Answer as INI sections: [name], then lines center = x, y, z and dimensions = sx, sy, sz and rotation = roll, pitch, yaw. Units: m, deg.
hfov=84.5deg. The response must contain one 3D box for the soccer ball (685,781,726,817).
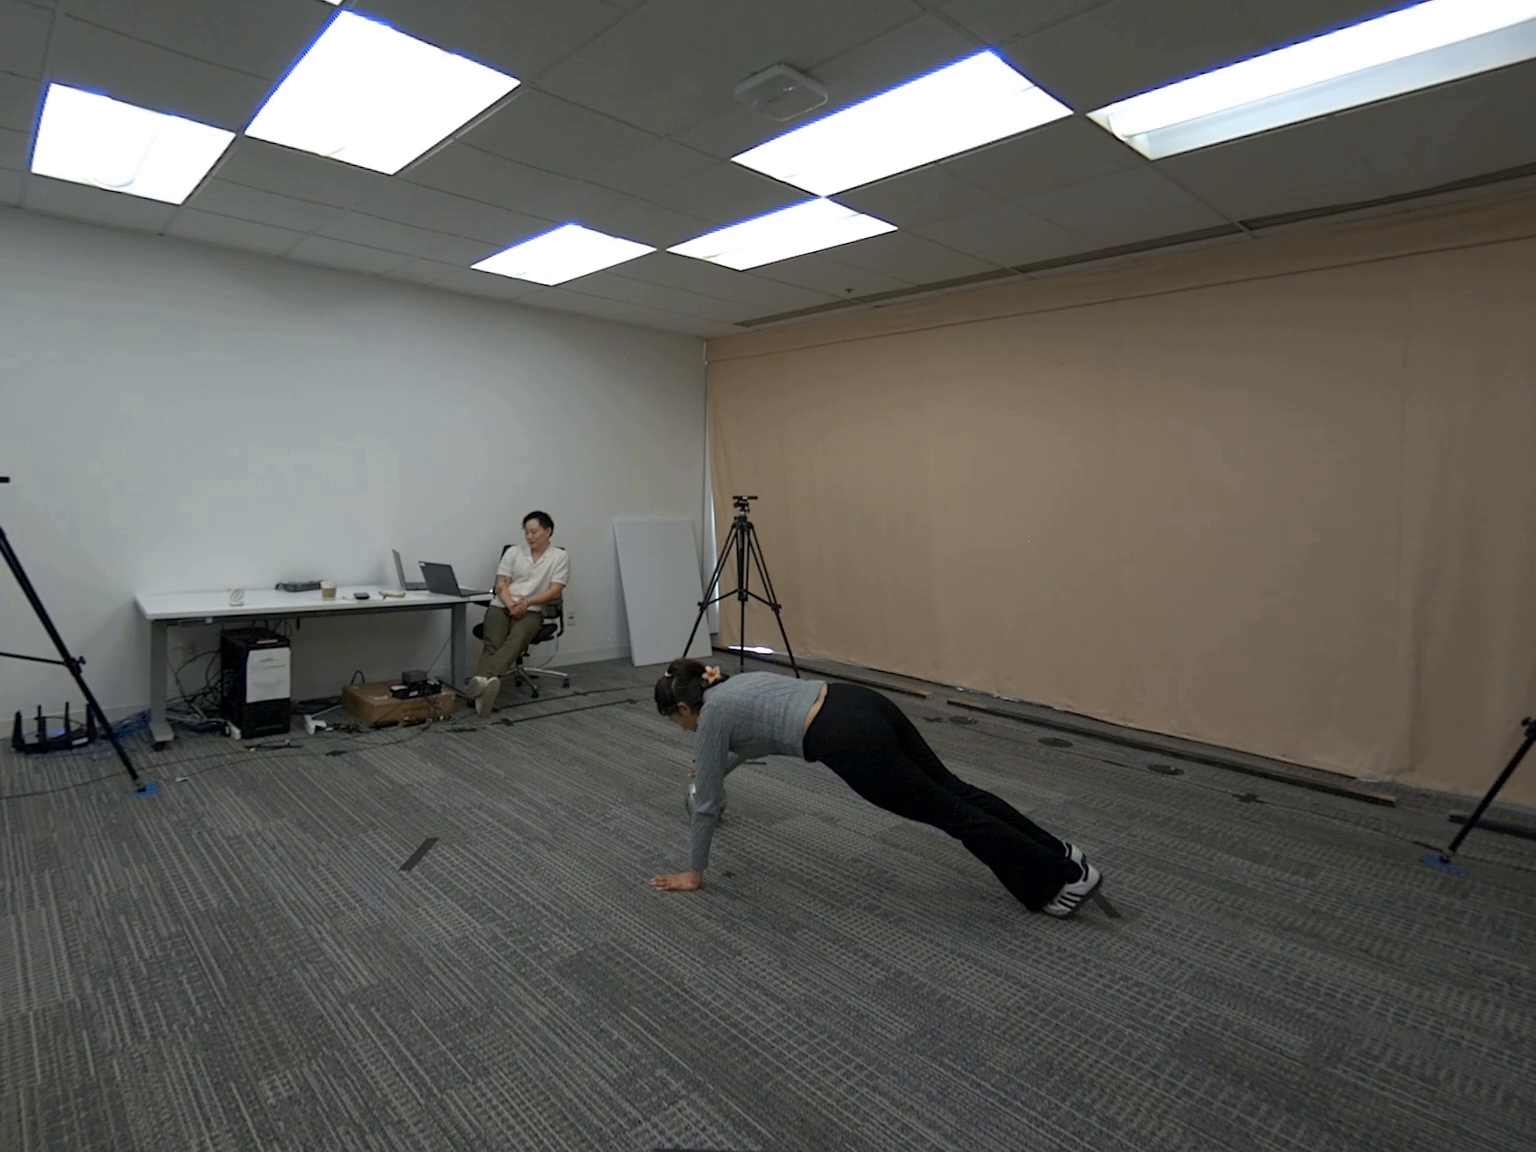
[soccer ball]
center = -0.279, 0.961, 3.618
dimensions = 0.187, 0.187, 0.188
rotation = 1, 4, -1
